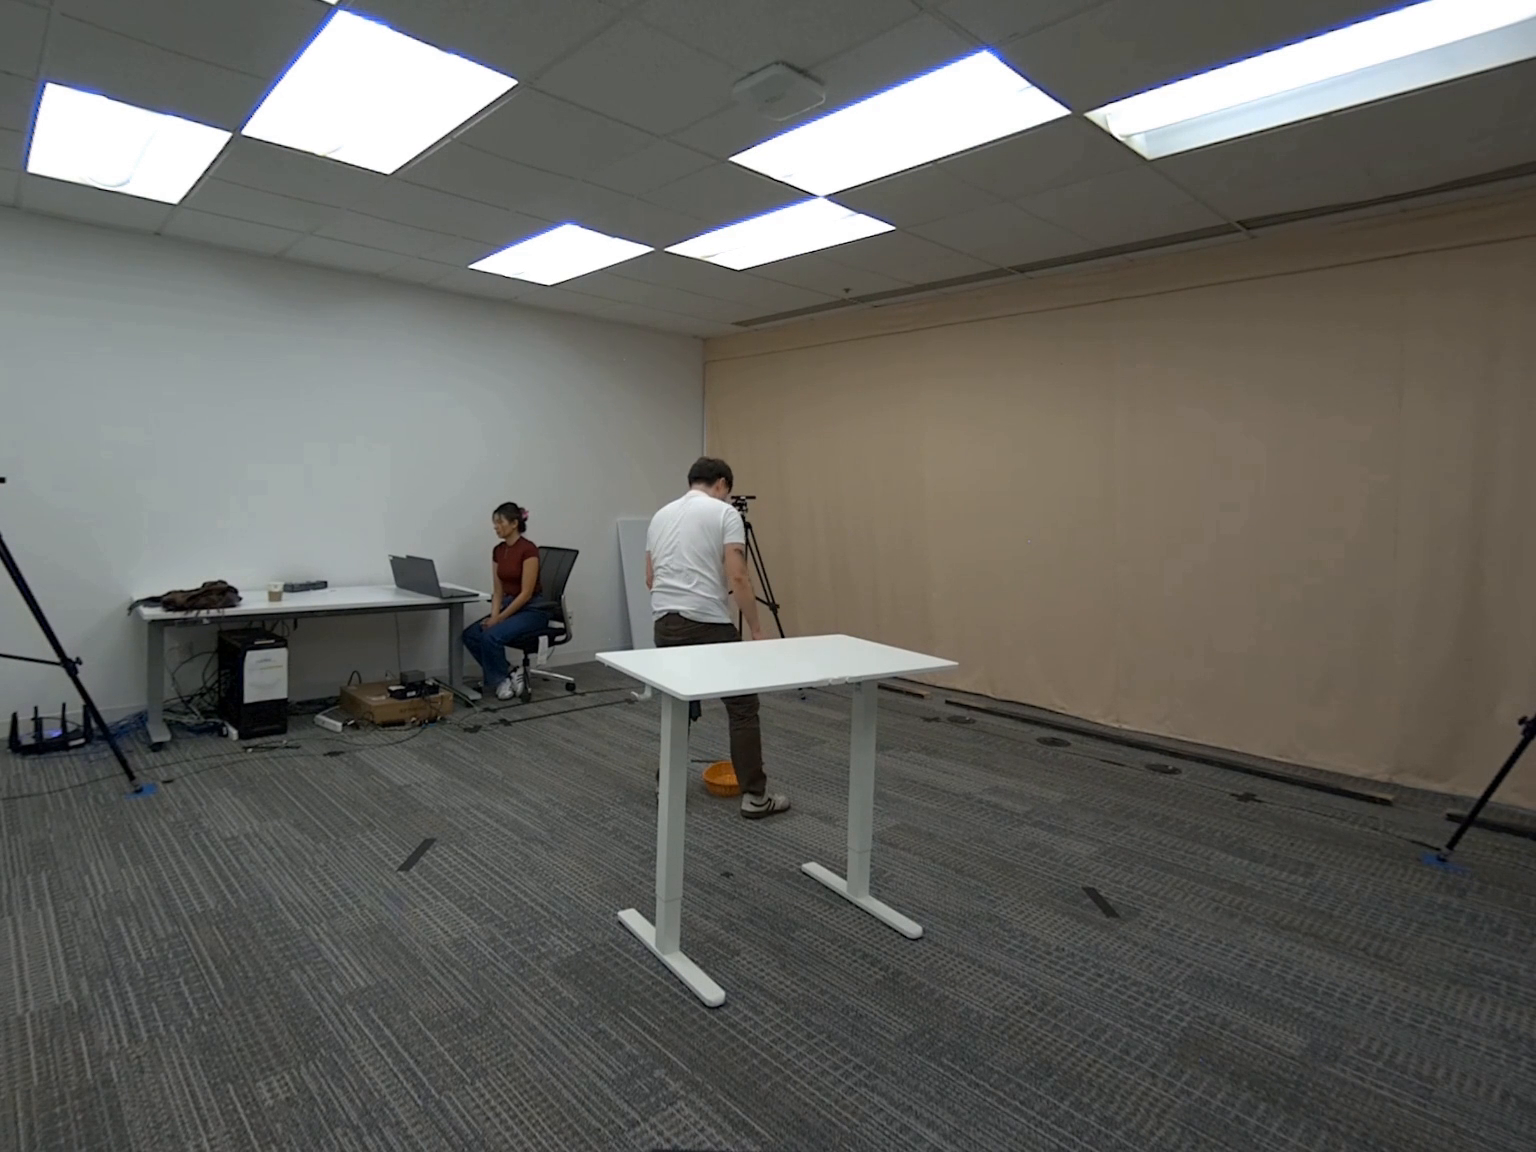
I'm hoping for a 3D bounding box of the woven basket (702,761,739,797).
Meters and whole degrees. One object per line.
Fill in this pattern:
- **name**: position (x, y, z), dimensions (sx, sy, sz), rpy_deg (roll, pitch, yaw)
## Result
- **woven basket**: position (-0.195, 0.980, 4.068), dimensions (0.255, 0.073, 0.347), rpy_deg (4, 5, 13)
